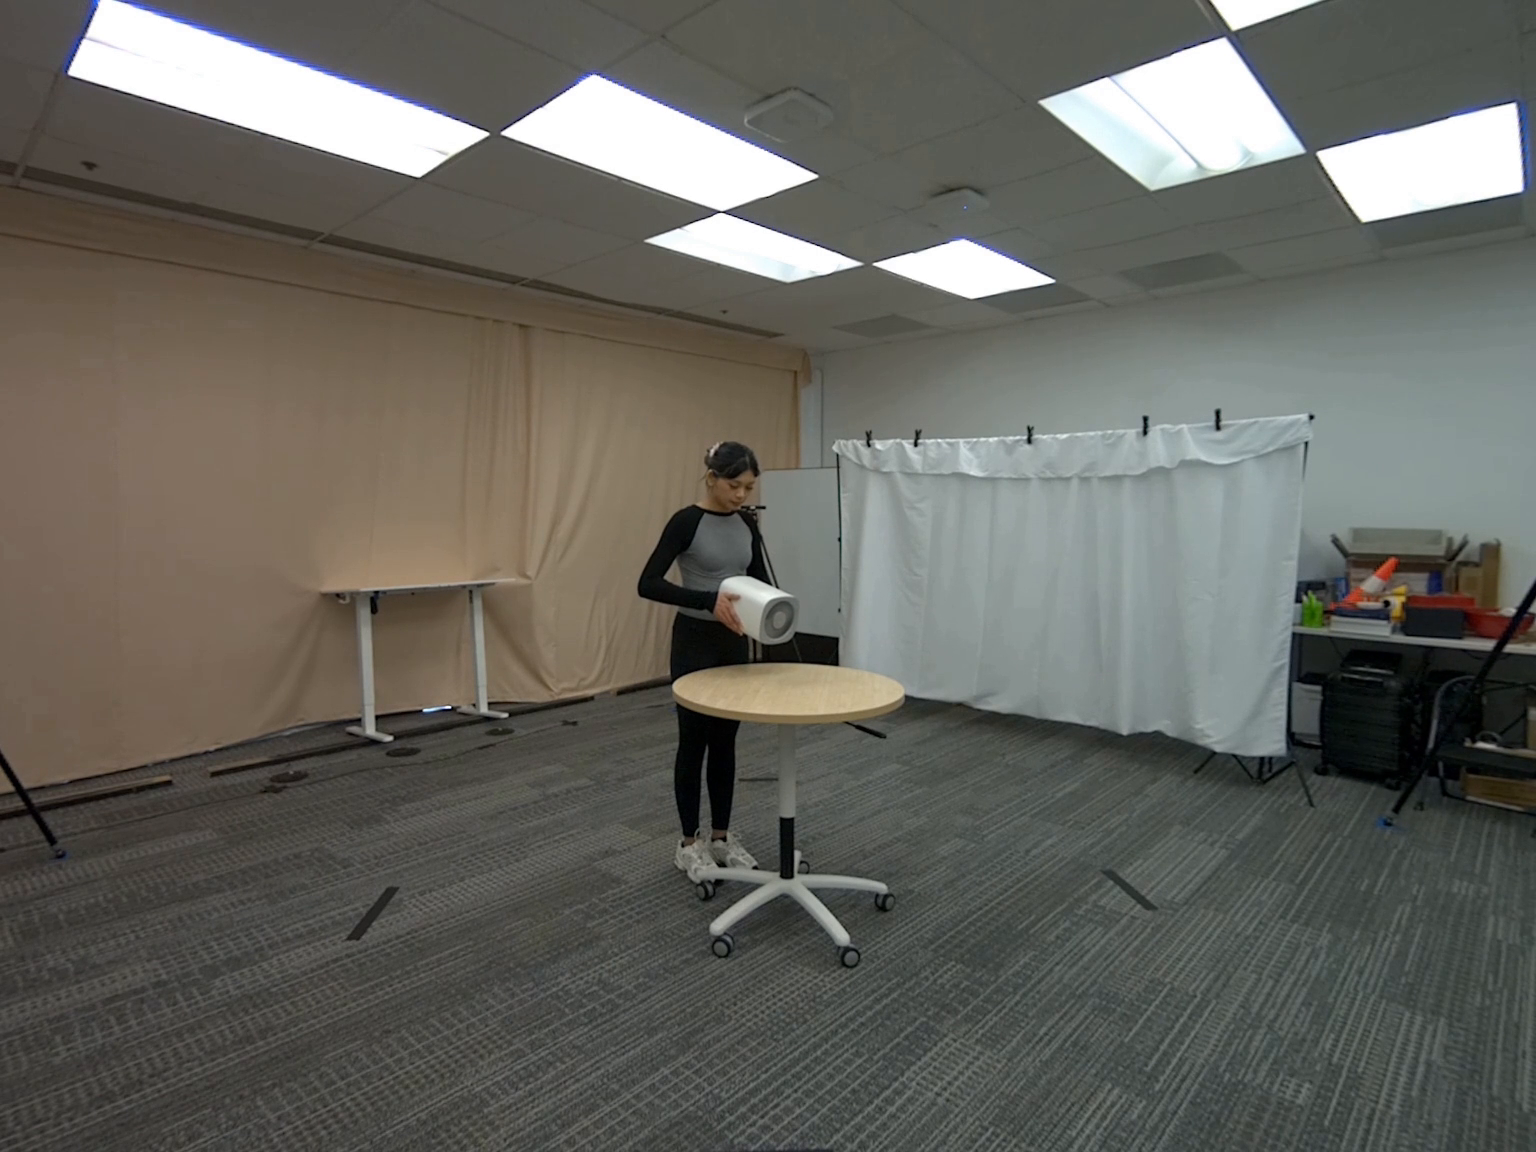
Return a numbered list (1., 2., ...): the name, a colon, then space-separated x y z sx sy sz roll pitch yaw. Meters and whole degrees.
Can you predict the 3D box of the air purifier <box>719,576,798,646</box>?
1. air purifier: -0.040 0.117 2.982 0.166 0.170 0.275 -2 16 -37
